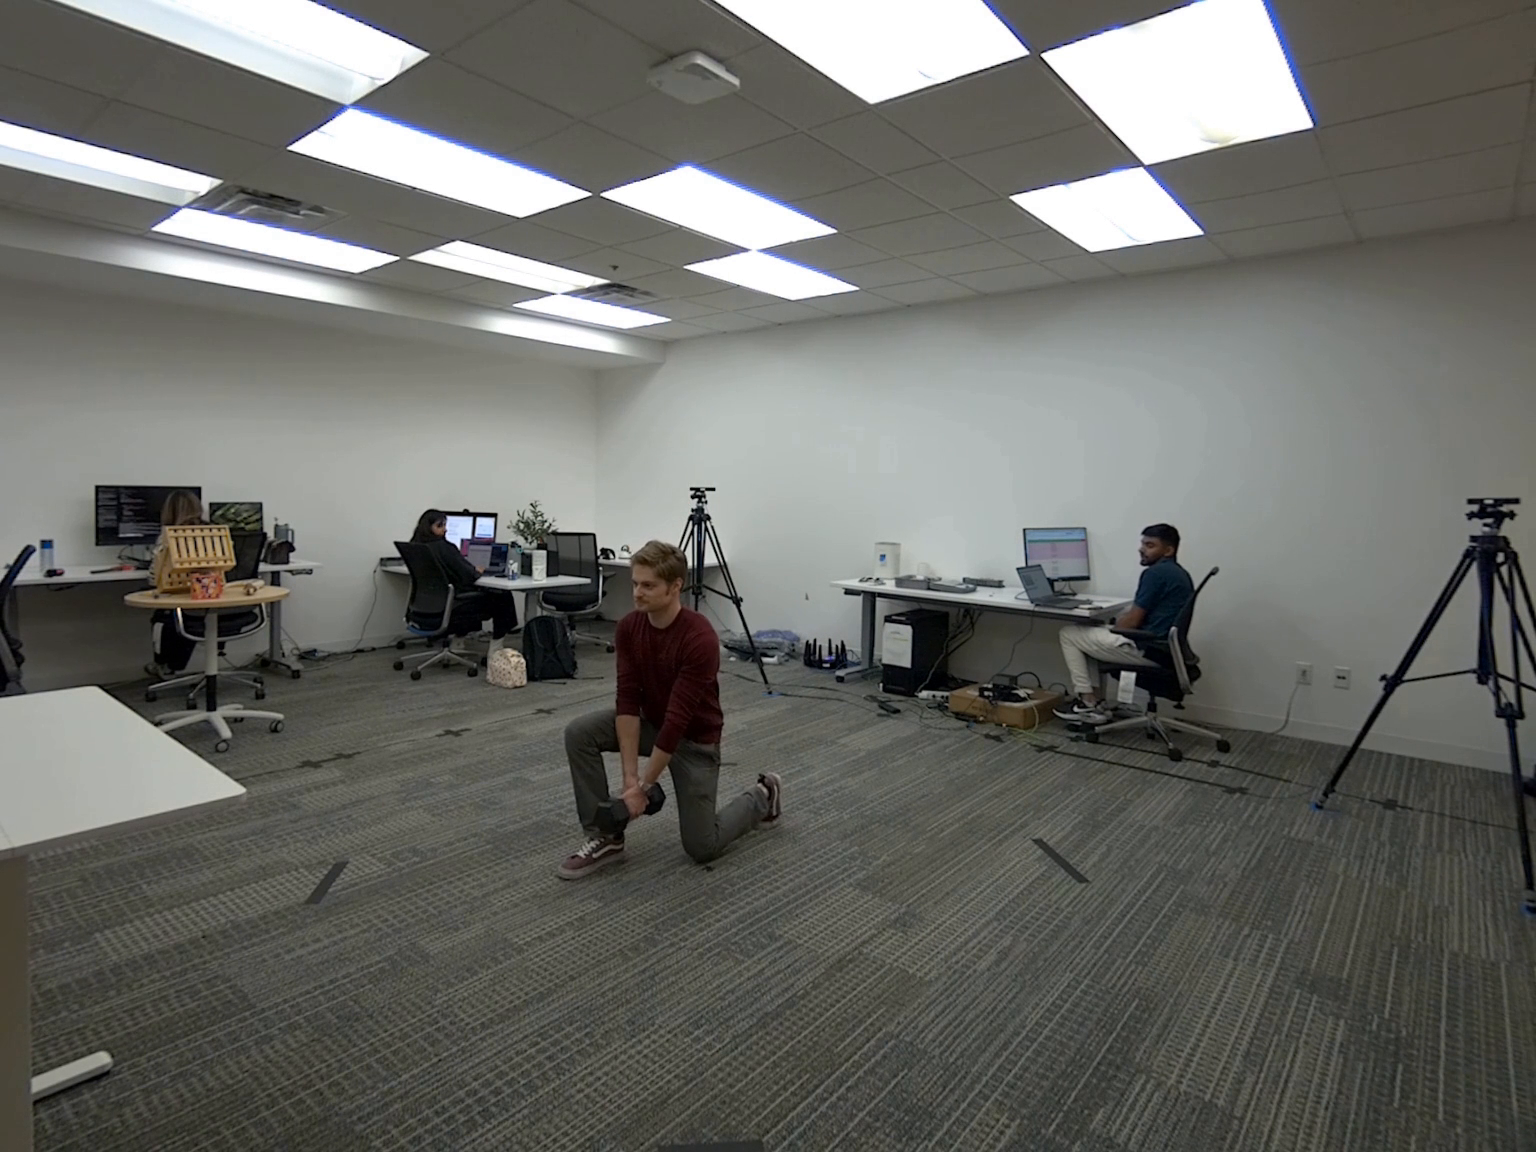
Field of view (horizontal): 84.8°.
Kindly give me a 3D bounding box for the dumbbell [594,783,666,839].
[{"bbox_3d":[-0.510,0.820,3.069,0.109,0.126,0.286,-38,-16,27],"label":"dumbbell"}]
